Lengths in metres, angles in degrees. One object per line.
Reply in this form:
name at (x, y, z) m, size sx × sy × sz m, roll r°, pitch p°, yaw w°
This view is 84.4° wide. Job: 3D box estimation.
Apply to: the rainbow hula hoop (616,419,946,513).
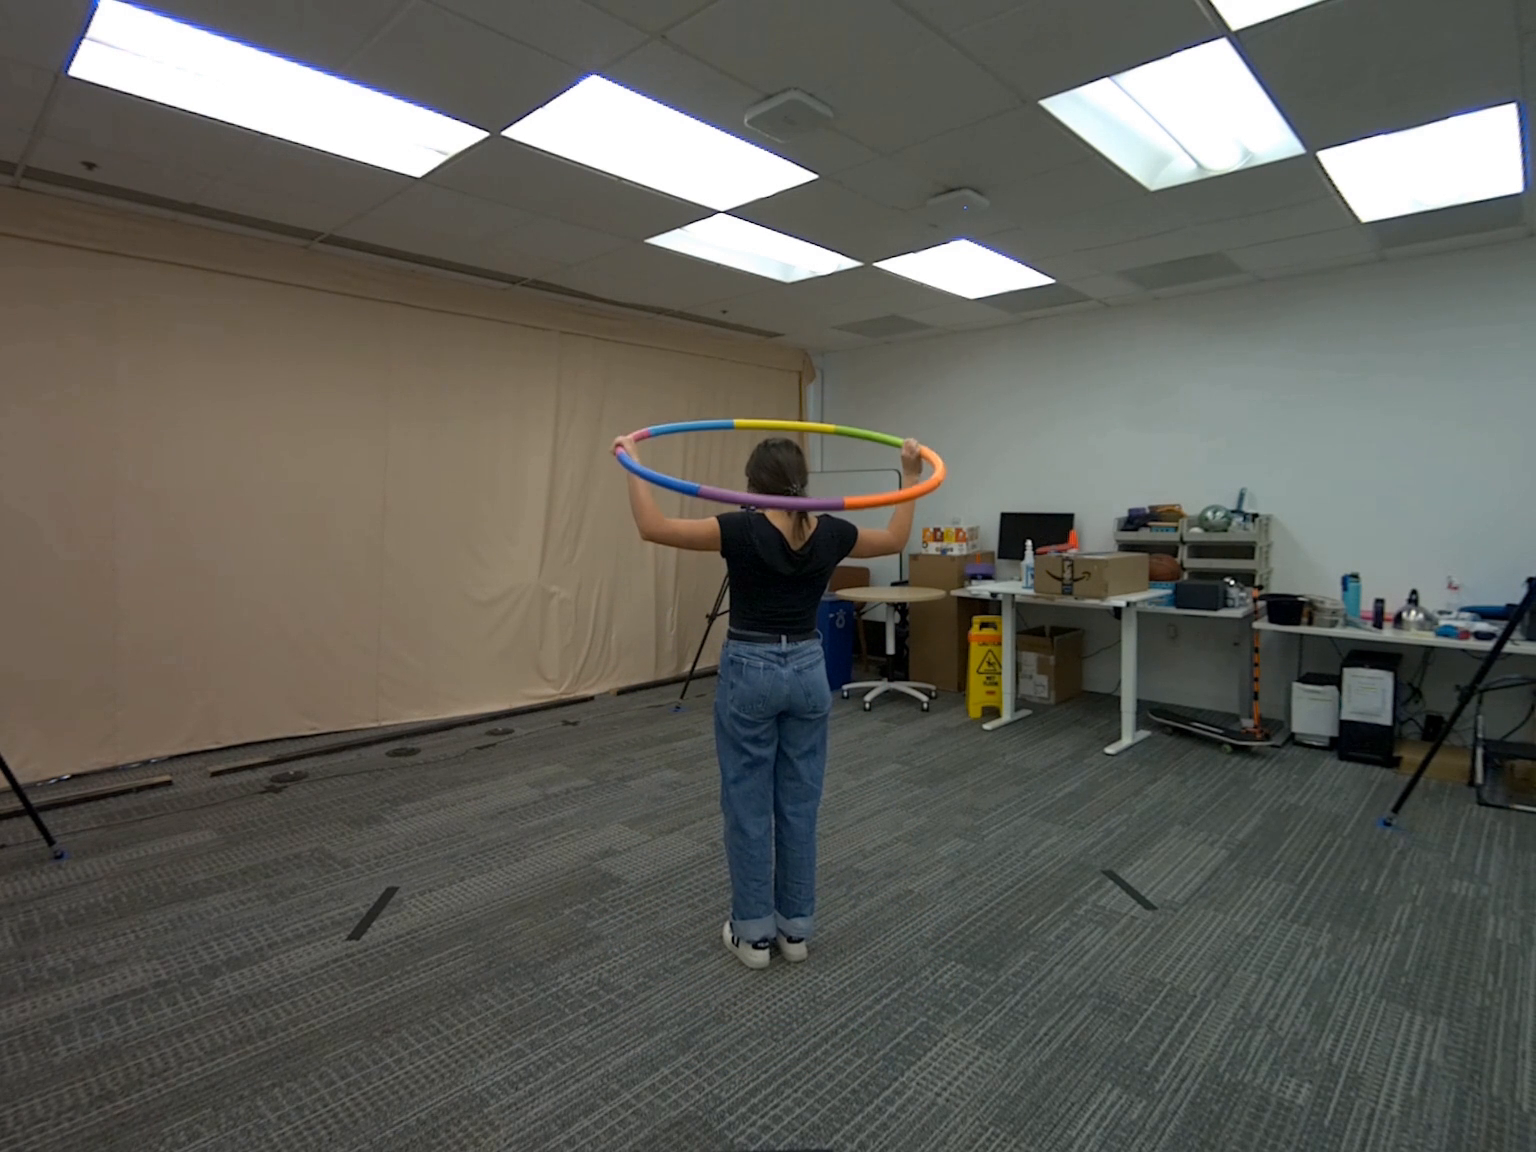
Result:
rainbow hula hoop at (0.040, -0.355, 2.570) m, size 0.977 × 0.035 × 0.992 m, roll 1°, pitch 22°, yaw -2°
